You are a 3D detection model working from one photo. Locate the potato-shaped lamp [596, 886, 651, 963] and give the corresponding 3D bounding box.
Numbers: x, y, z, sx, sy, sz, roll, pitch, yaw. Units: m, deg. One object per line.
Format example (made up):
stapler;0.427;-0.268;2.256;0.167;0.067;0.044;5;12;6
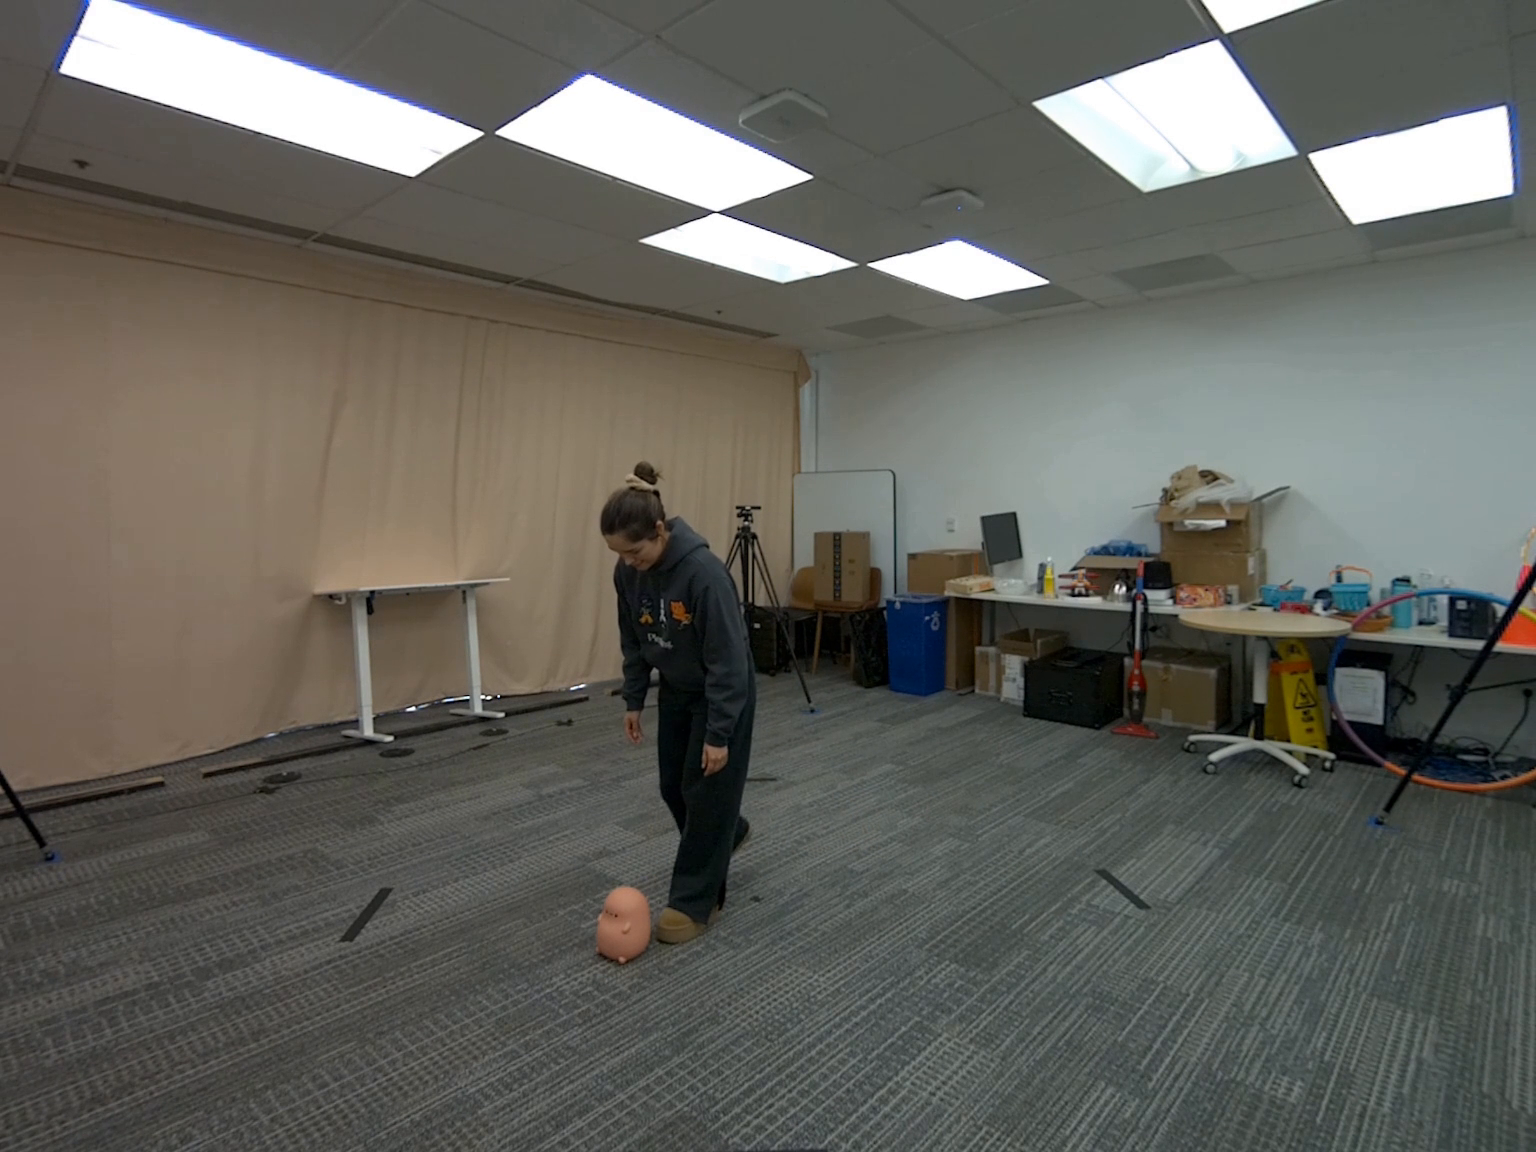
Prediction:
potato-shaped lamp;-0.431;1.079;2.632;0.170;0.198;0.166;3;3;35
